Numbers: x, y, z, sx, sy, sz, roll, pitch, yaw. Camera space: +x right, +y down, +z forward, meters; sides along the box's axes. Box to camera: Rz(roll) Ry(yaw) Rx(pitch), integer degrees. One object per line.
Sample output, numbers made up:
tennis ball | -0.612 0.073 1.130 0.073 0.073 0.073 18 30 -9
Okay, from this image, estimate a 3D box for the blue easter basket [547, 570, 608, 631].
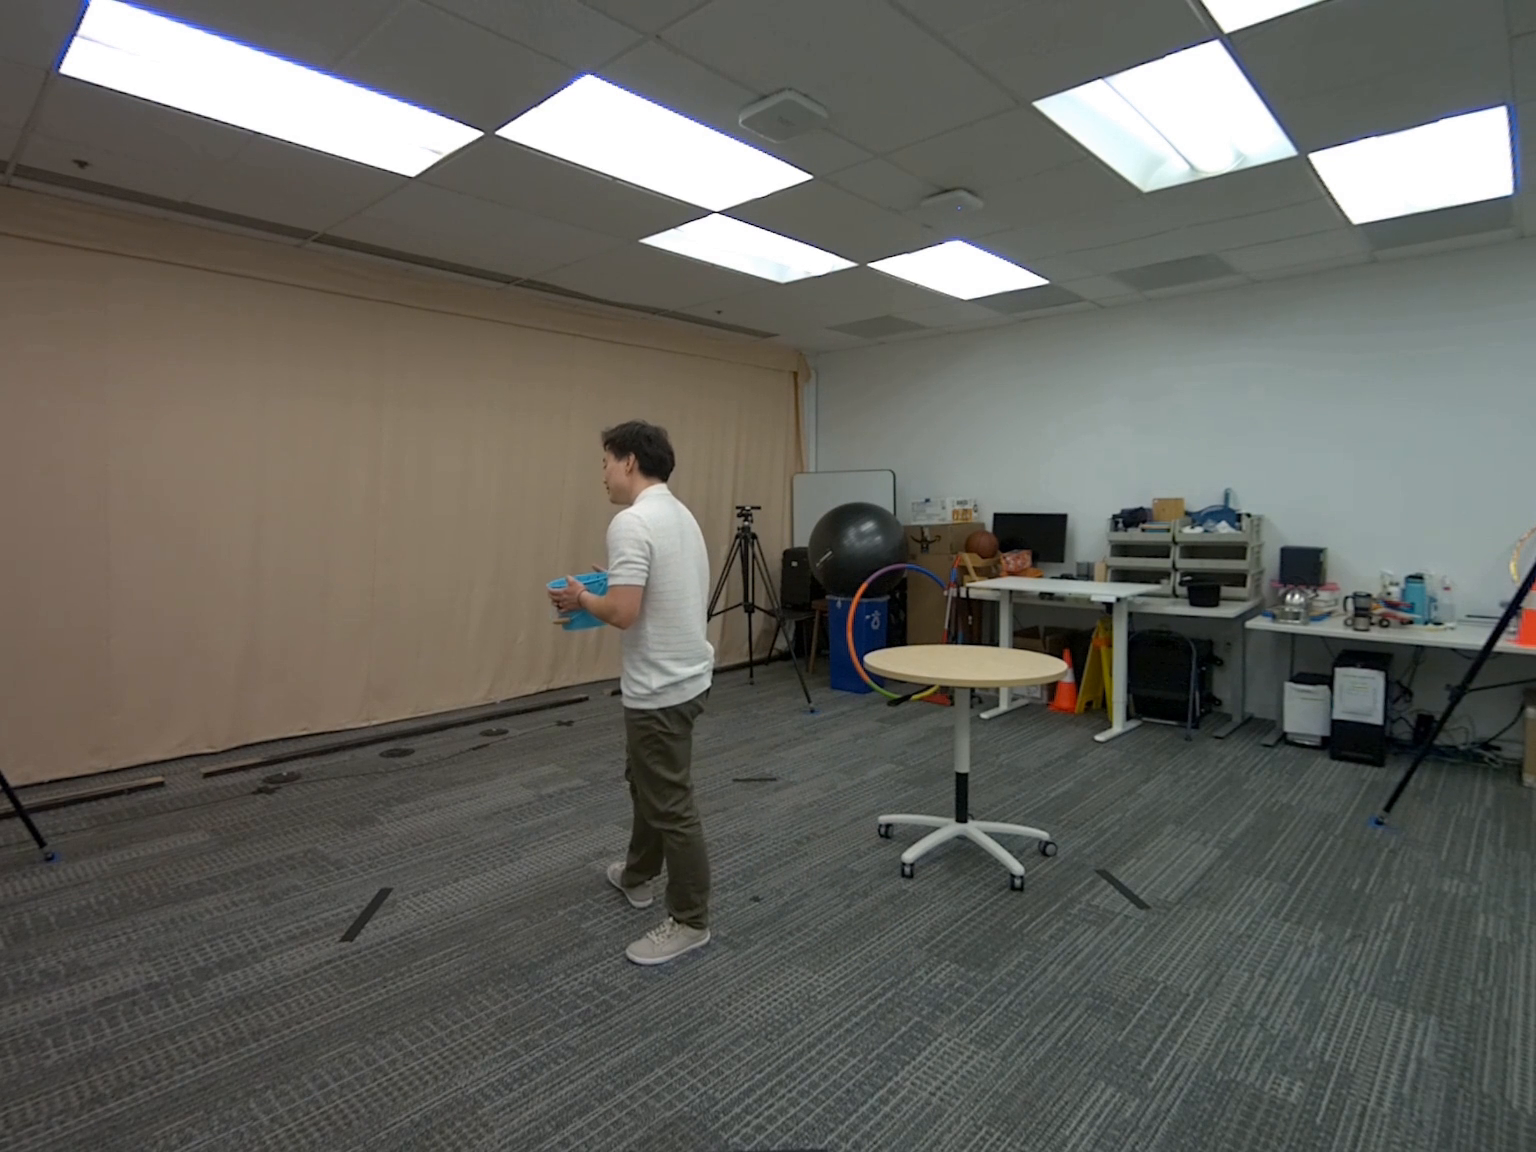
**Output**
blue easter basket | -0.611 0.086 2.770 0.243 0.155 0.245 -8 7 -1
